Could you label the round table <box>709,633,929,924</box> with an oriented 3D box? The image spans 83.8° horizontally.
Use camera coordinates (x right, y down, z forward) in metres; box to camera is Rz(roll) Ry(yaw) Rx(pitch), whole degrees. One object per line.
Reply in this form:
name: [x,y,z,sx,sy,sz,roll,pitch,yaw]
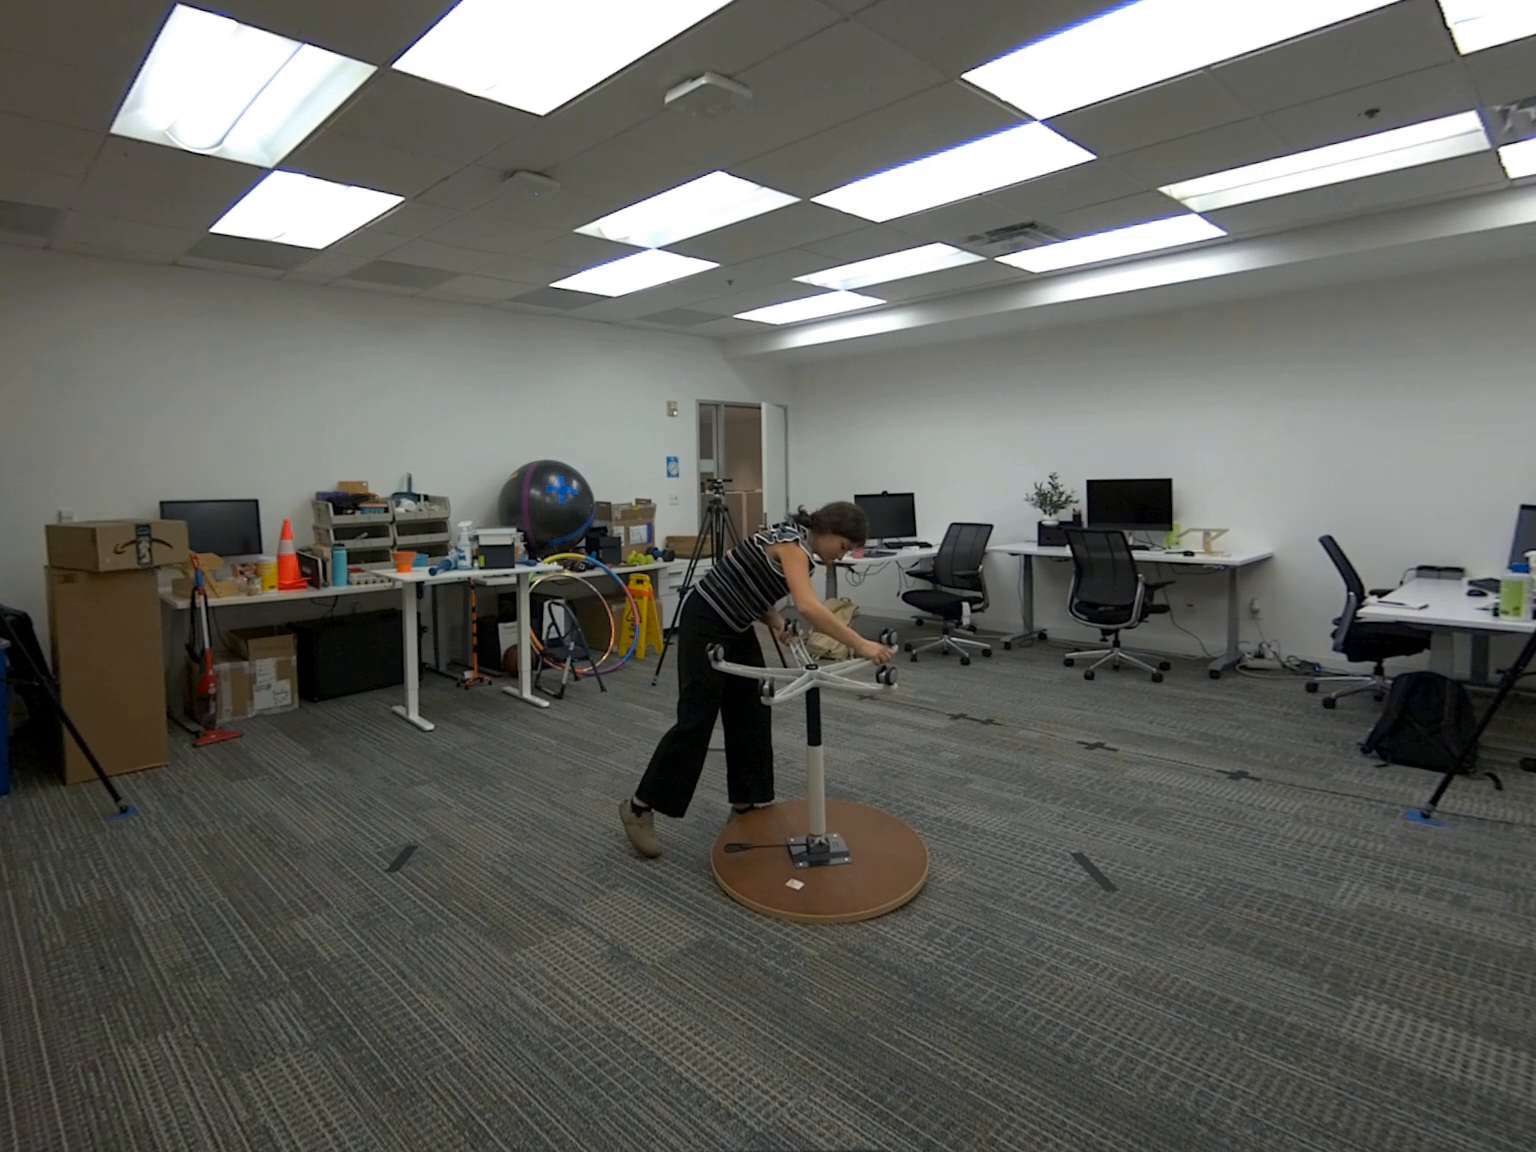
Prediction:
round table: [0.173,0.627,2.987,0.764,0.786,0.772,-2,11,-1]
